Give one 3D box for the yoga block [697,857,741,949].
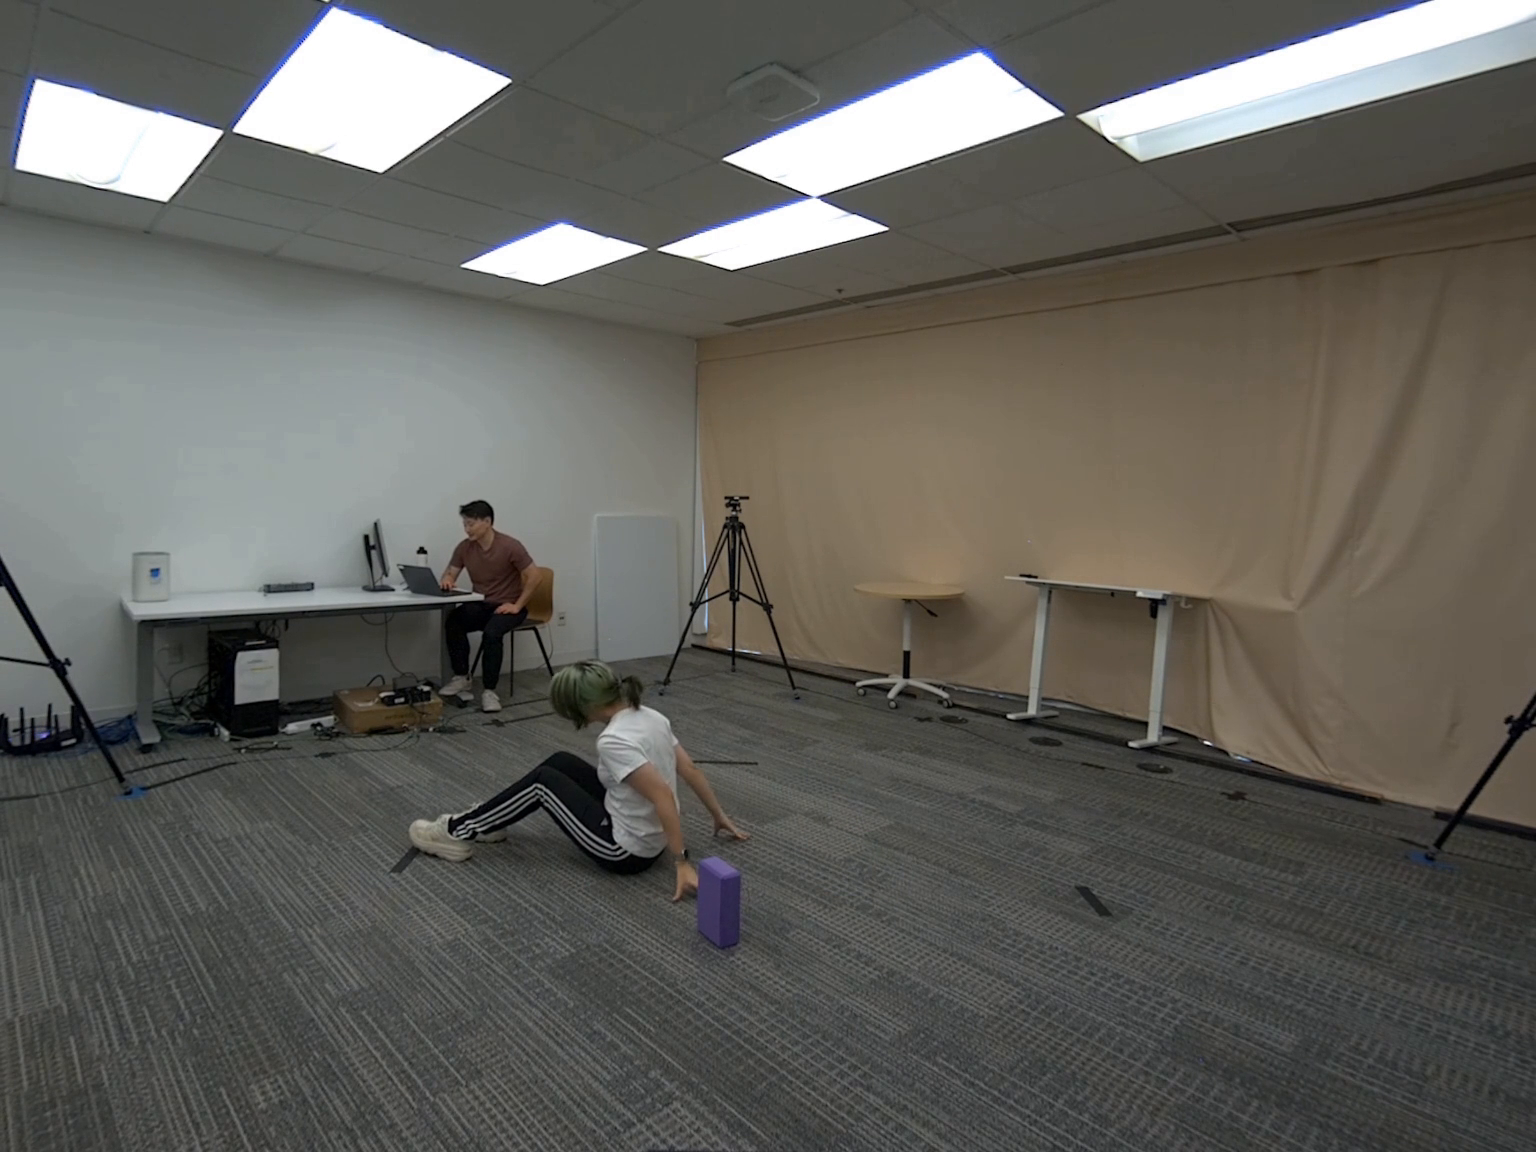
[{"bbox_3d":[-0.158,1.028,2.652,0.075,0.229,0.153,1,4,-36],"label":"yoga block"}]
